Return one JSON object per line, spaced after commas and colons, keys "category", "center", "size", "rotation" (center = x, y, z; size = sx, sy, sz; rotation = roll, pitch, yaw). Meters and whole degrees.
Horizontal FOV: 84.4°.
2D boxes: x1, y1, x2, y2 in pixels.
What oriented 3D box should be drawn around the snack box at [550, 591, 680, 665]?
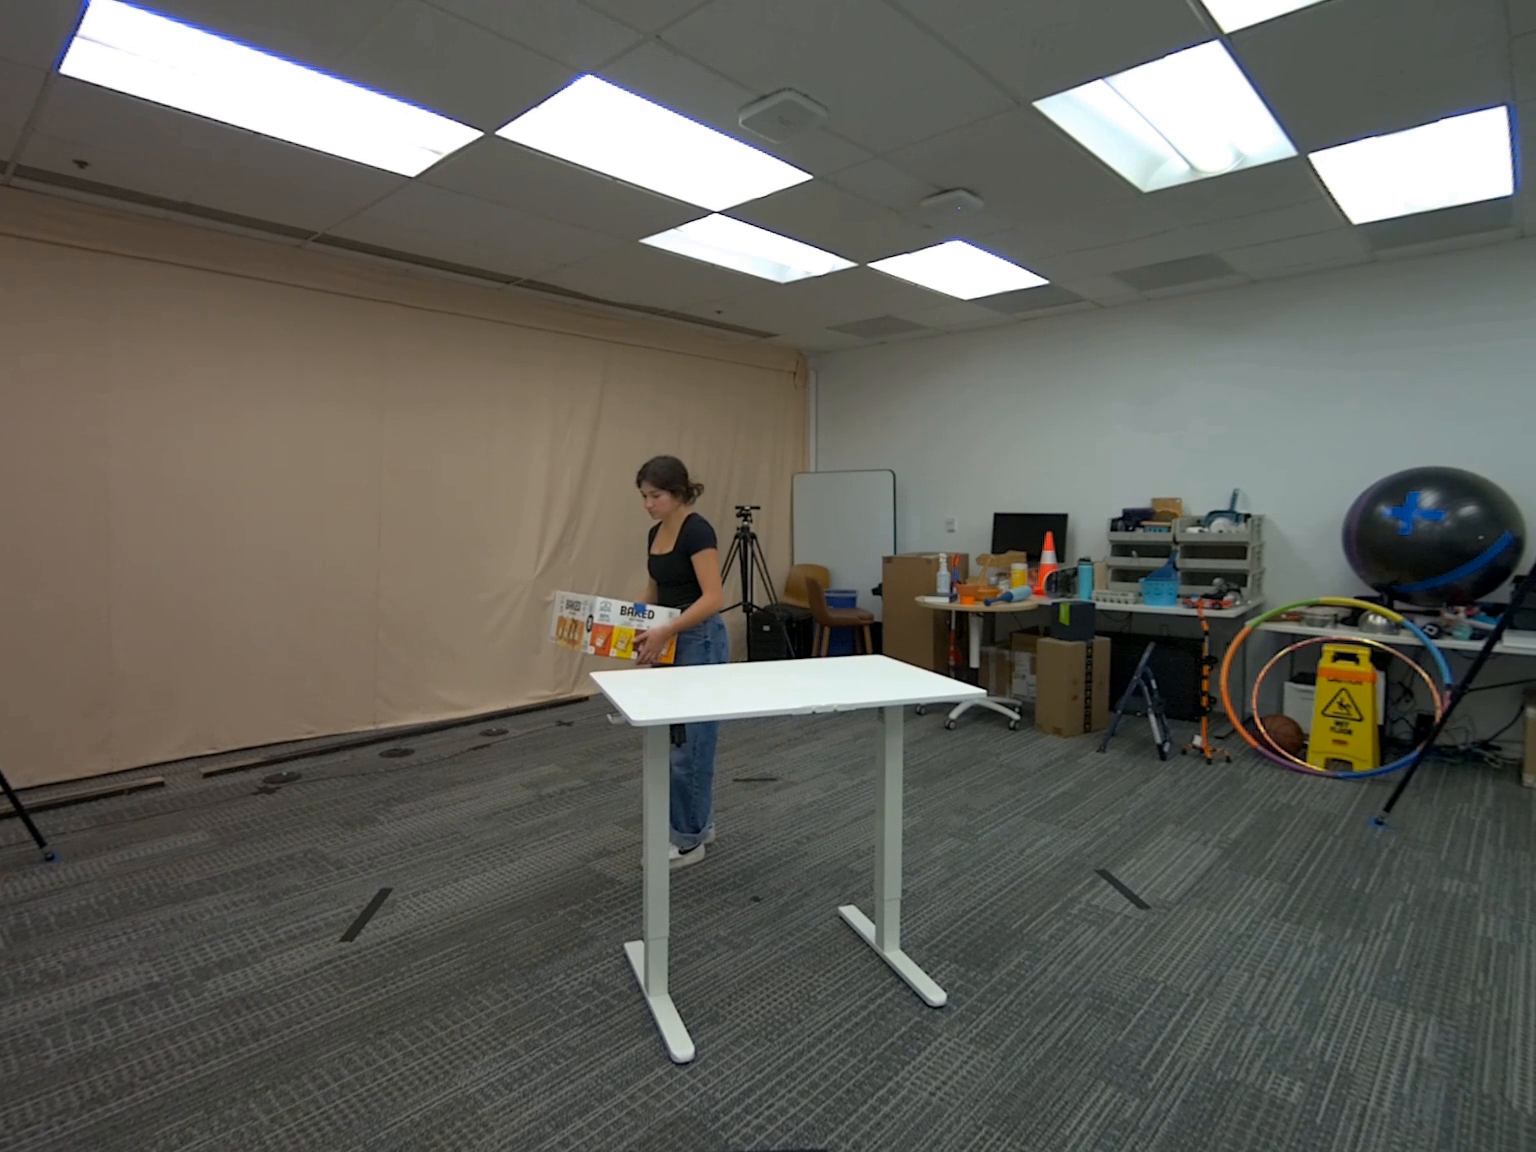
{"category": "snack box", "center": [-0.585, 0.195, 3.181], "size": [0.330, 0.206, 0.417], "rotation": [11, -4, -31]}
